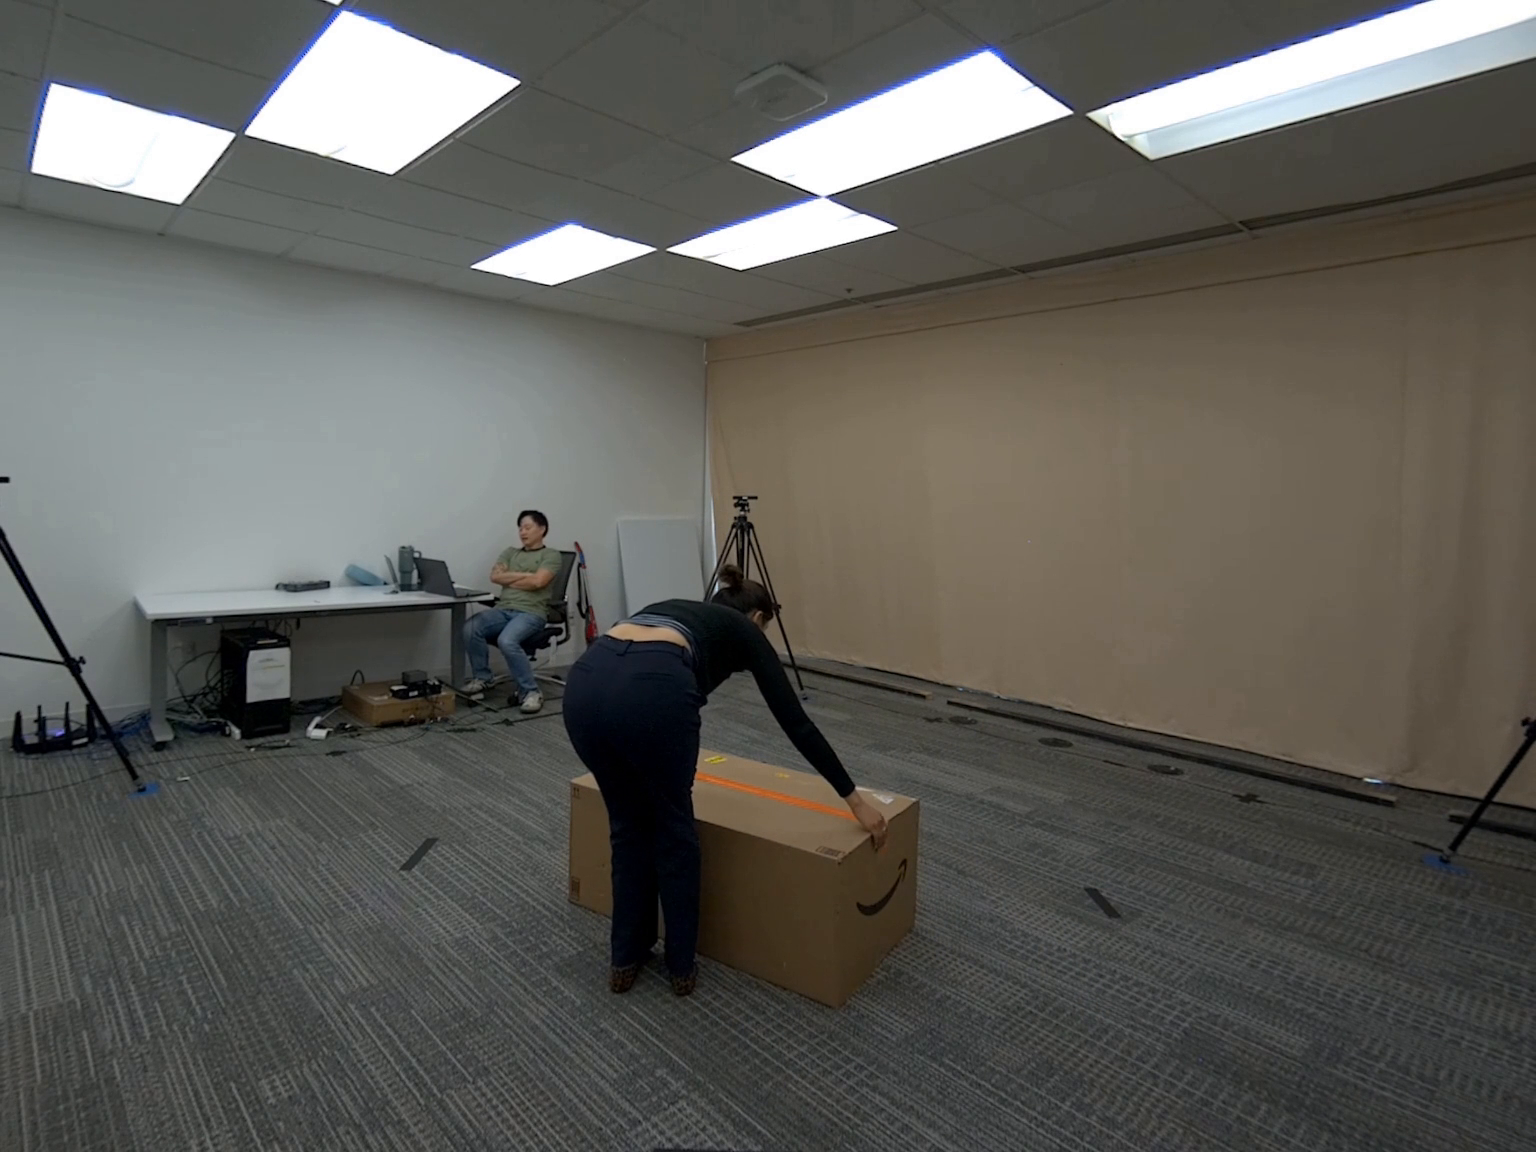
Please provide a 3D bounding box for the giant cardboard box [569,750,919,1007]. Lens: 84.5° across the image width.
[{"bbox_3d":[-0.098,0.919,2.804,1.050,0.425,0.566,5,7,33],"label":"giant cardboard box"}]
